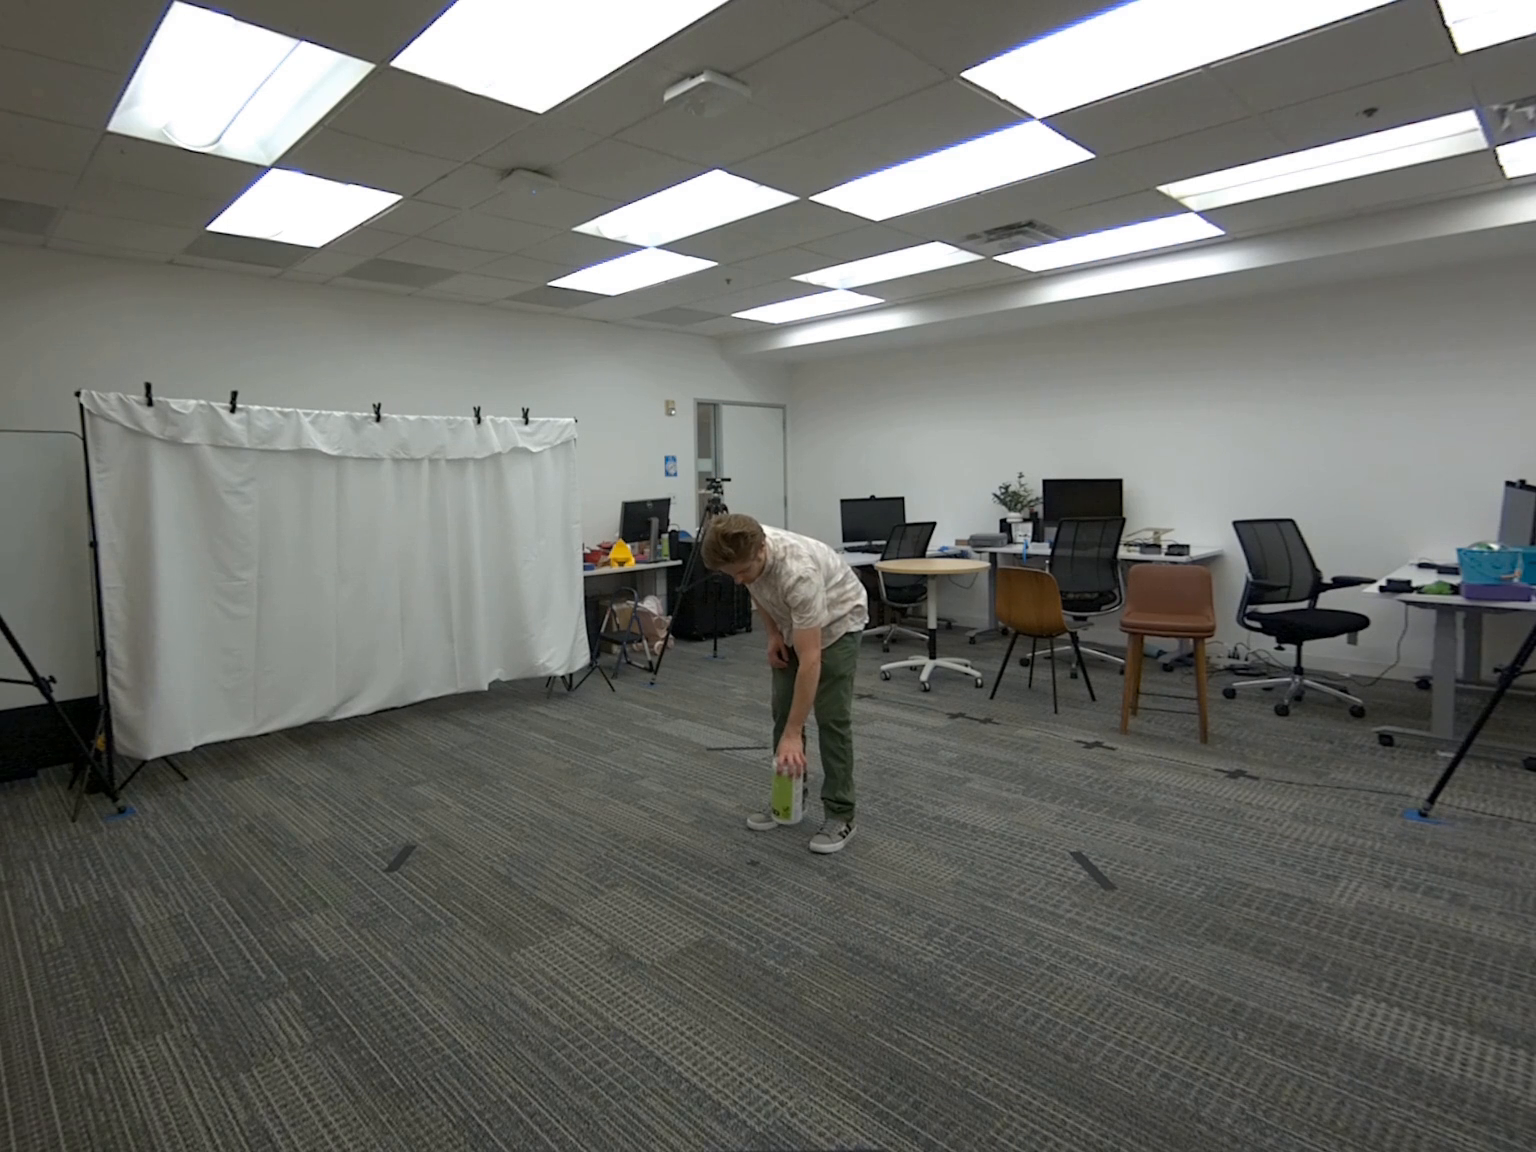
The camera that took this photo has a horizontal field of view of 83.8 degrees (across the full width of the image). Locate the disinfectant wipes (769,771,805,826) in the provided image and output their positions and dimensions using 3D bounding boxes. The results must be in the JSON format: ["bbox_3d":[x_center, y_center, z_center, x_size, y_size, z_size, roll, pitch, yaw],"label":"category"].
[{"bbox_3d":[0.068,0.761,3.022,0.117,0.215,0.119,2,10,-2],"label":"disinfectant wipes"}]
